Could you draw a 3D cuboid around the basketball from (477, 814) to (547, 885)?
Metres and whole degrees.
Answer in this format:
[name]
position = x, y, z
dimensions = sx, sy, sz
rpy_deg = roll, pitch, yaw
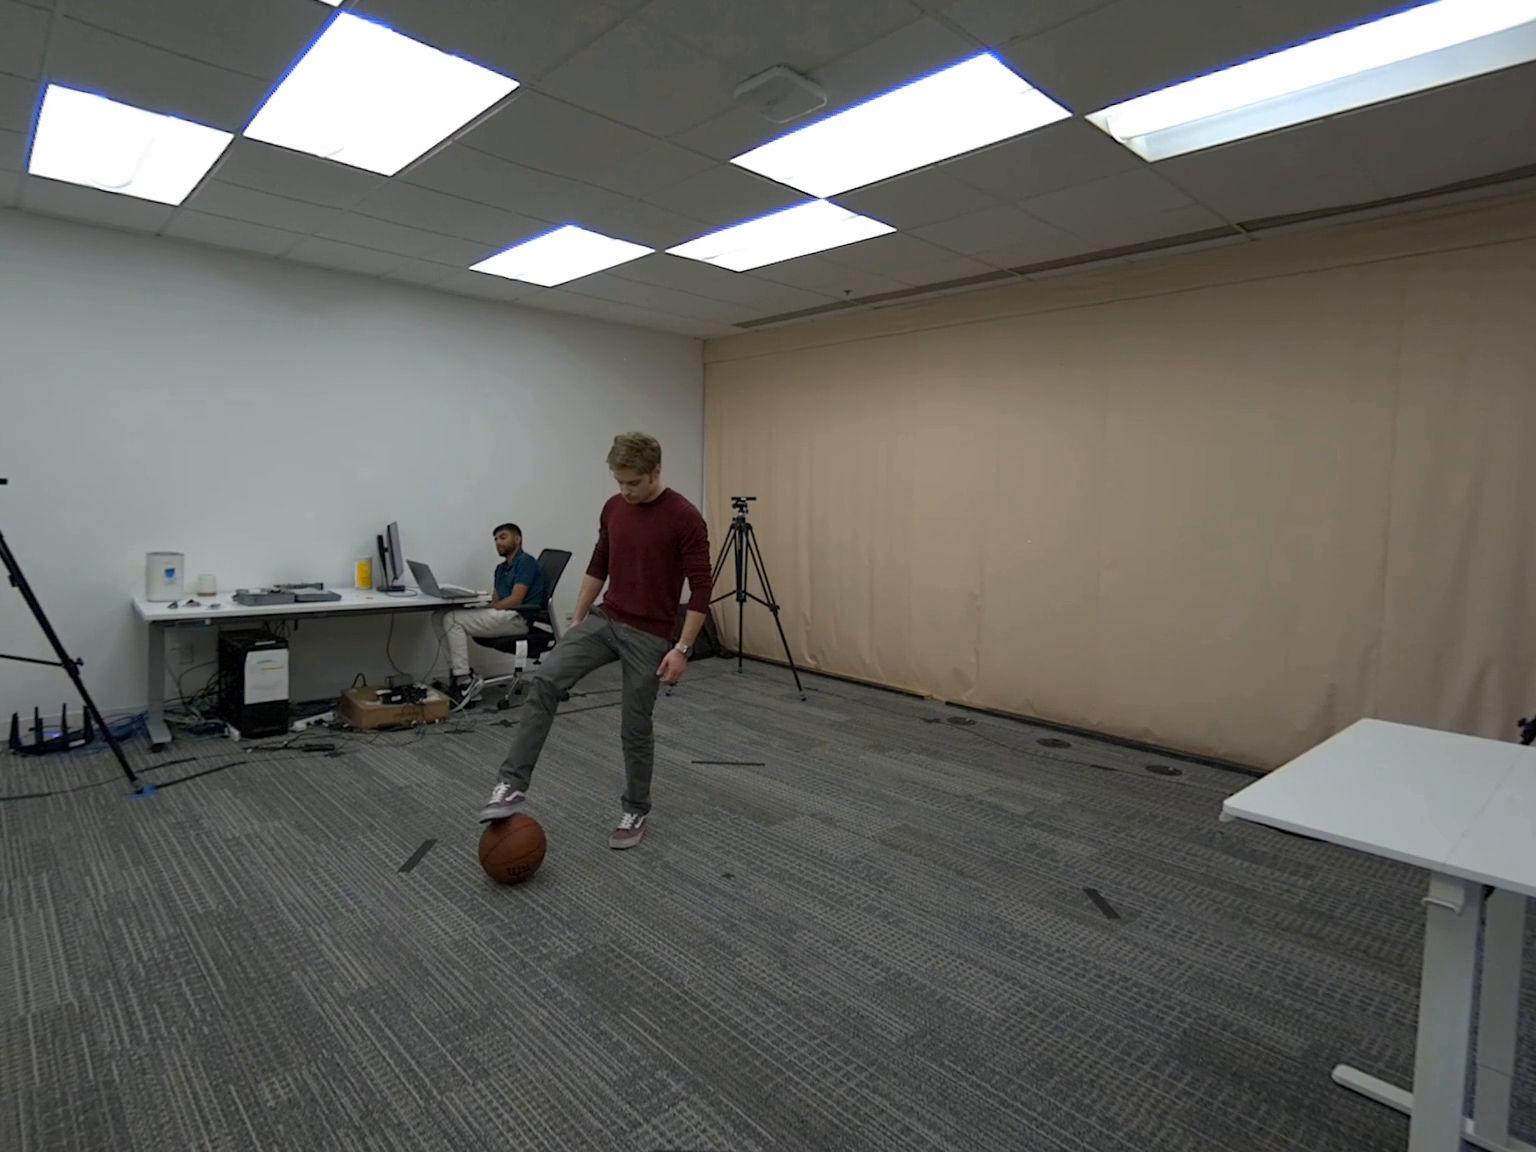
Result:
[basketball]
position = -0.921, 0.978, 3.021
dimensions = 0.236, 0.235, 0.237
rpy_deg = 1, 4, -1
